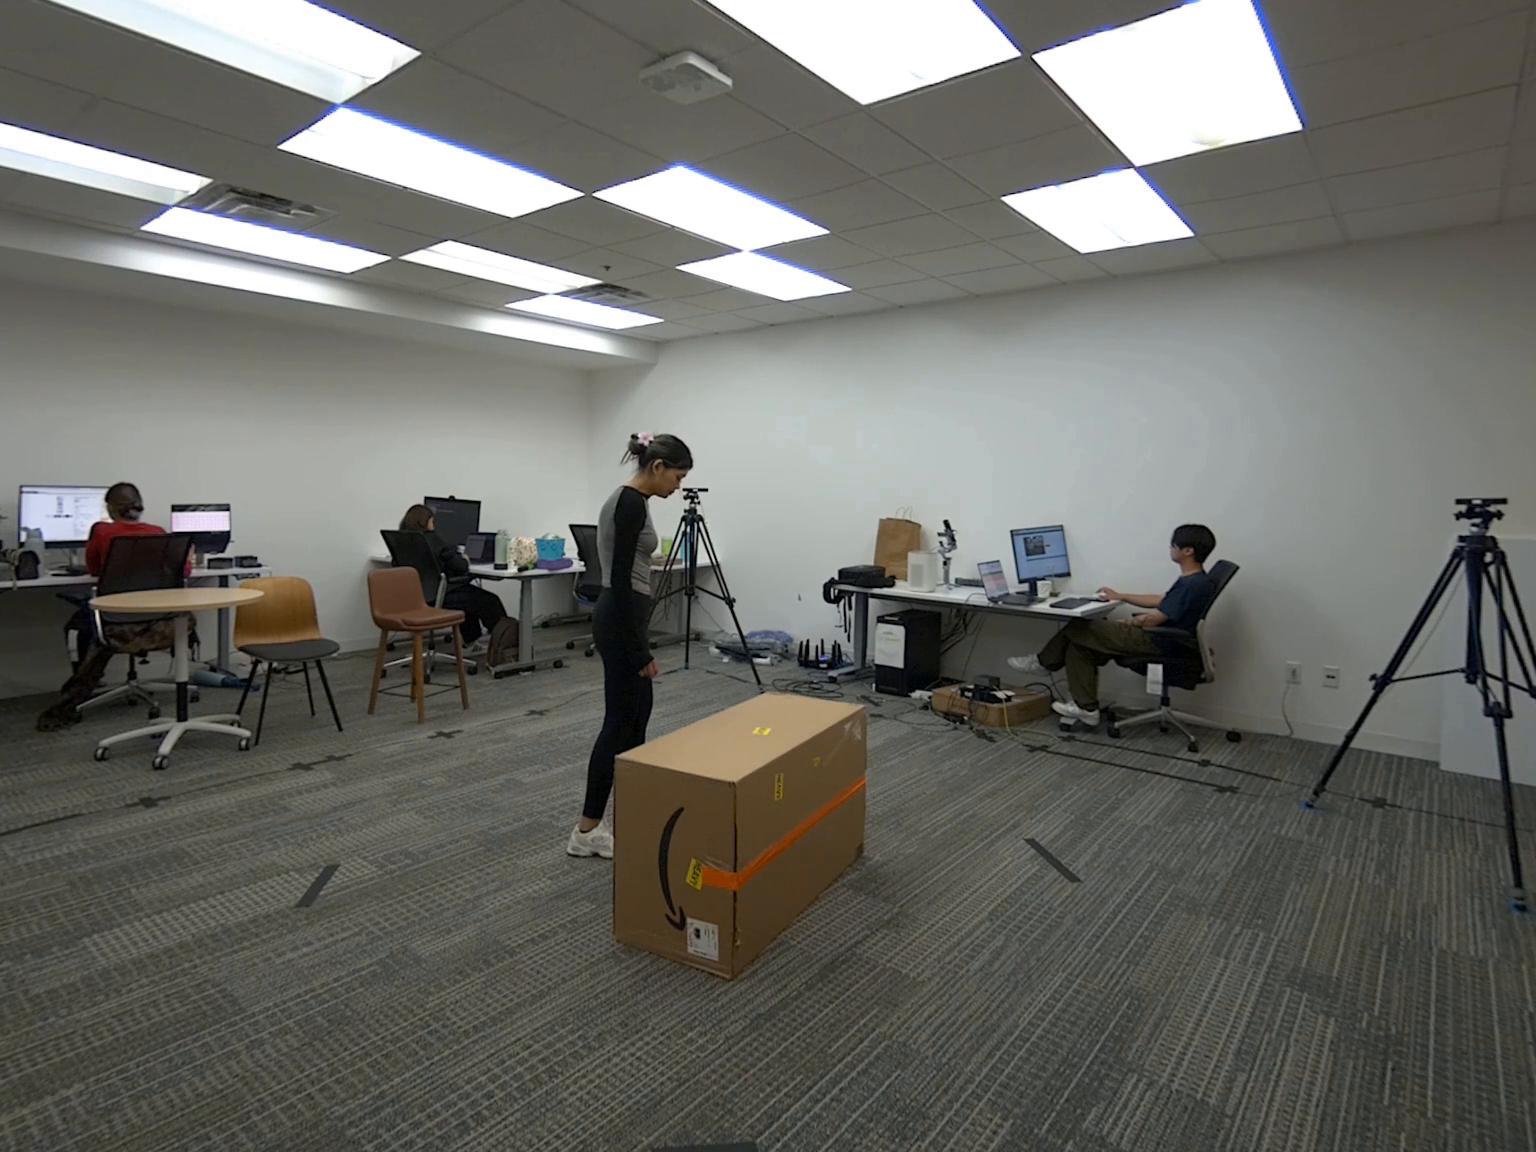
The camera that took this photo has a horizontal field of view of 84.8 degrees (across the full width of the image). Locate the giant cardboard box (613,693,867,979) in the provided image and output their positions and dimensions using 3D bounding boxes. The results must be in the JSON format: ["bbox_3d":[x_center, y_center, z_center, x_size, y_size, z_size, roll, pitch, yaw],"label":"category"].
[{"bbox_3d":[-0.054,0.805,2.919,0.438,0.576,1.000,2,5,29],"label":"giant cardboard box"}]
